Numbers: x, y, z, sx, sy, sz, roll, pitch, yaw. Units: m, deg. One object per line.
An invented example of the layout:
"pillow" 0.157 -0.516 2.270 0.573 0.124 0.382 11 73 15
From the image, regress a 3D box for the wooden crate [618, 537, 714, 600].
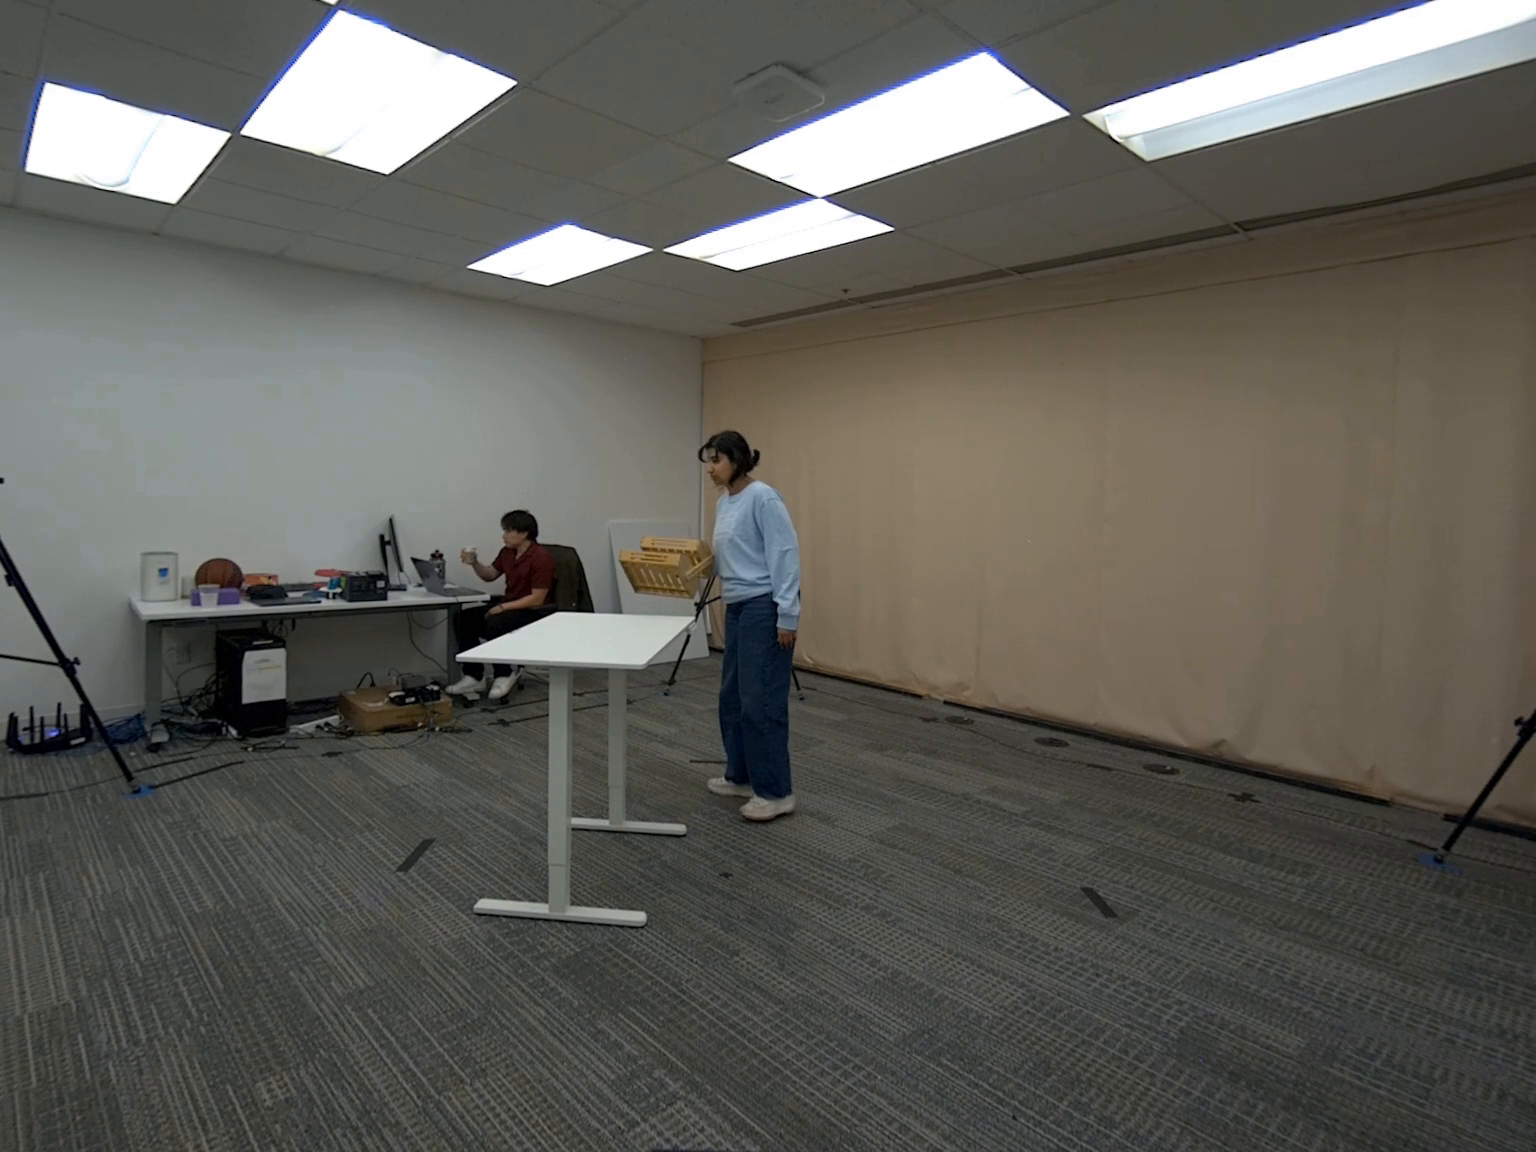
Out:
"wooden crate" -0.458 -0.074 3.836 0.331 0.276 0.293 5 -41 24
